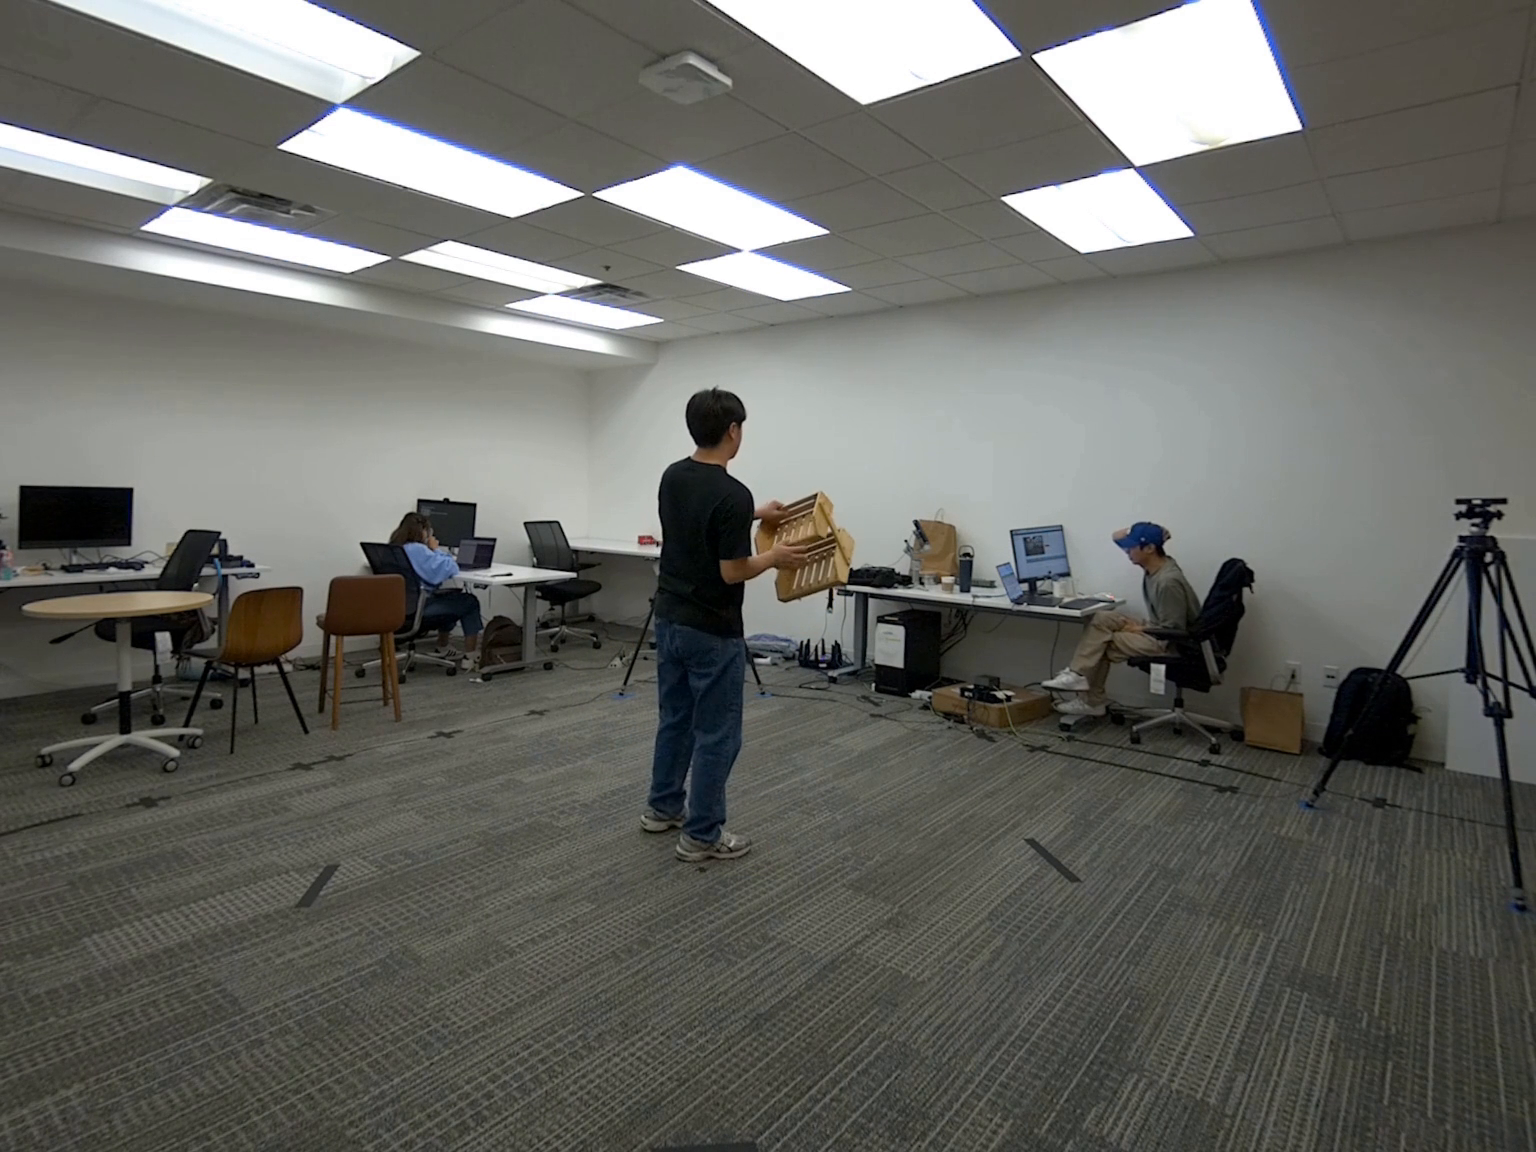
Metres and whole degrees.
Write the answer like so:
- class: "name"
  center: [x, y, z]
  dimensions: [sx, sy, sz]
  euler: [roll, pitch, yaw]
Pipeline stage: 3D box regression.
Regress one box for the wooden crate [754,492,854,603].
- class: "wooden crate"
  center: [0.123, -0.105, 3.400]
  dimensions: [0.330, 0.307, 0.264]
  euler: [-20, -54, 35]
